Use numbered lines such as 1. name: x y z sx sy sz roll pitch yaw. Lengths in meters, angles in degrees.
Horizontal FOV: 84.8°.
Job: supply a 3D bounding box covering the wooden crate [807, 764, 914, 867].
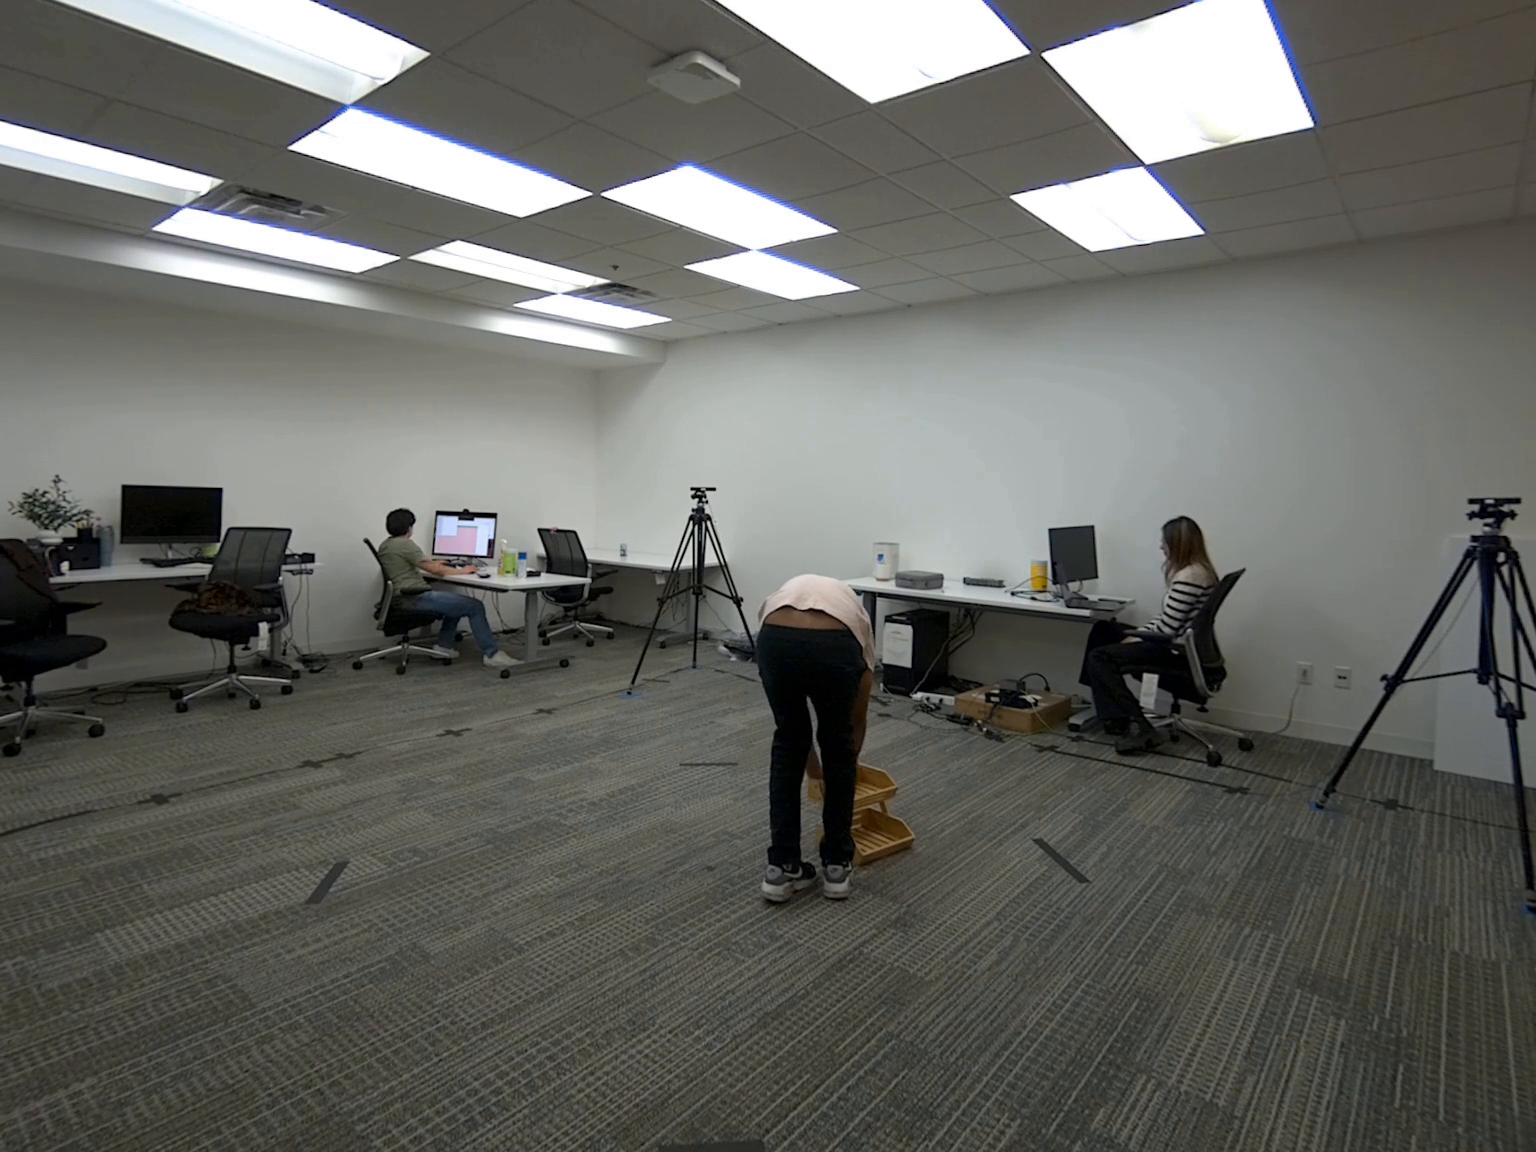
1. wooden crate: 0.363 0.922 3.346 0.315 0.272 0.312 -3 5 -40
